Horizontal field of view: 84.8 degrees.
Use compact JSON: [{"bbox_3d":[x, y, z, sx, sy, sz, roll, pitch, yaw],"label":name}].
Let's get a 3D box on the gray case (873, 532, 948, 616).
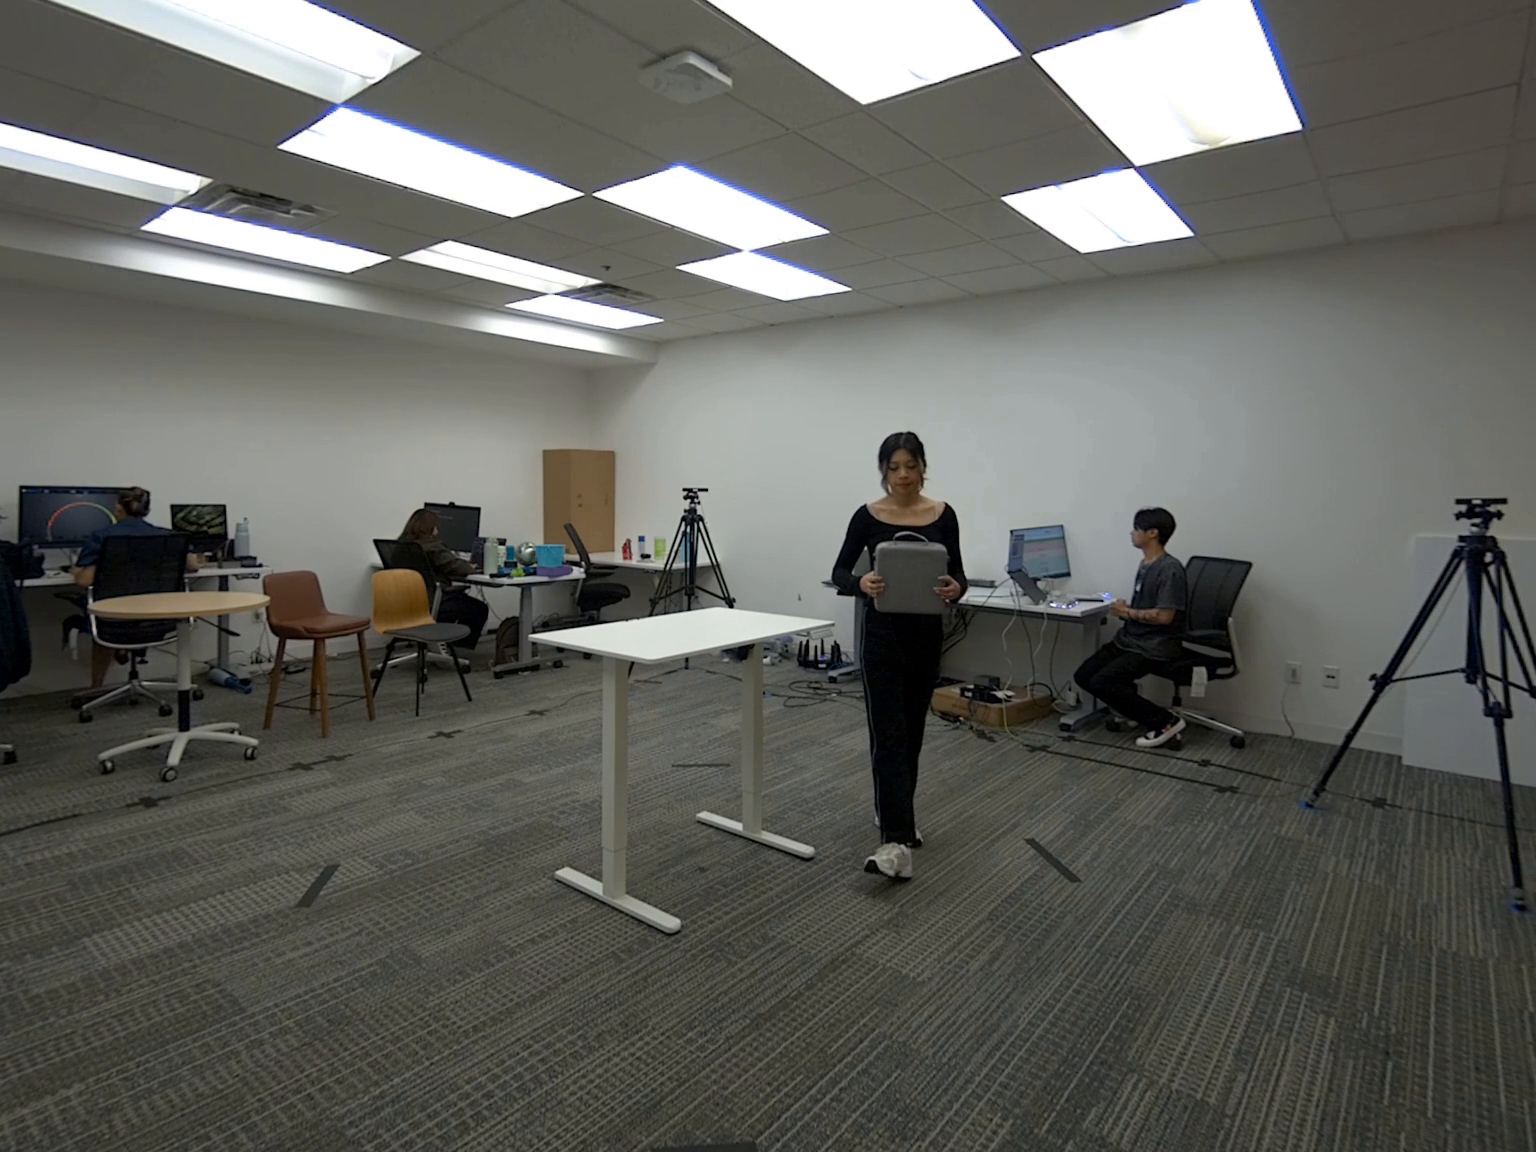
[{"bbox_3d":[0.510,-0.002,3.083,0.260,0.258,0.104,2,12,12],"label":"gray case"}]
